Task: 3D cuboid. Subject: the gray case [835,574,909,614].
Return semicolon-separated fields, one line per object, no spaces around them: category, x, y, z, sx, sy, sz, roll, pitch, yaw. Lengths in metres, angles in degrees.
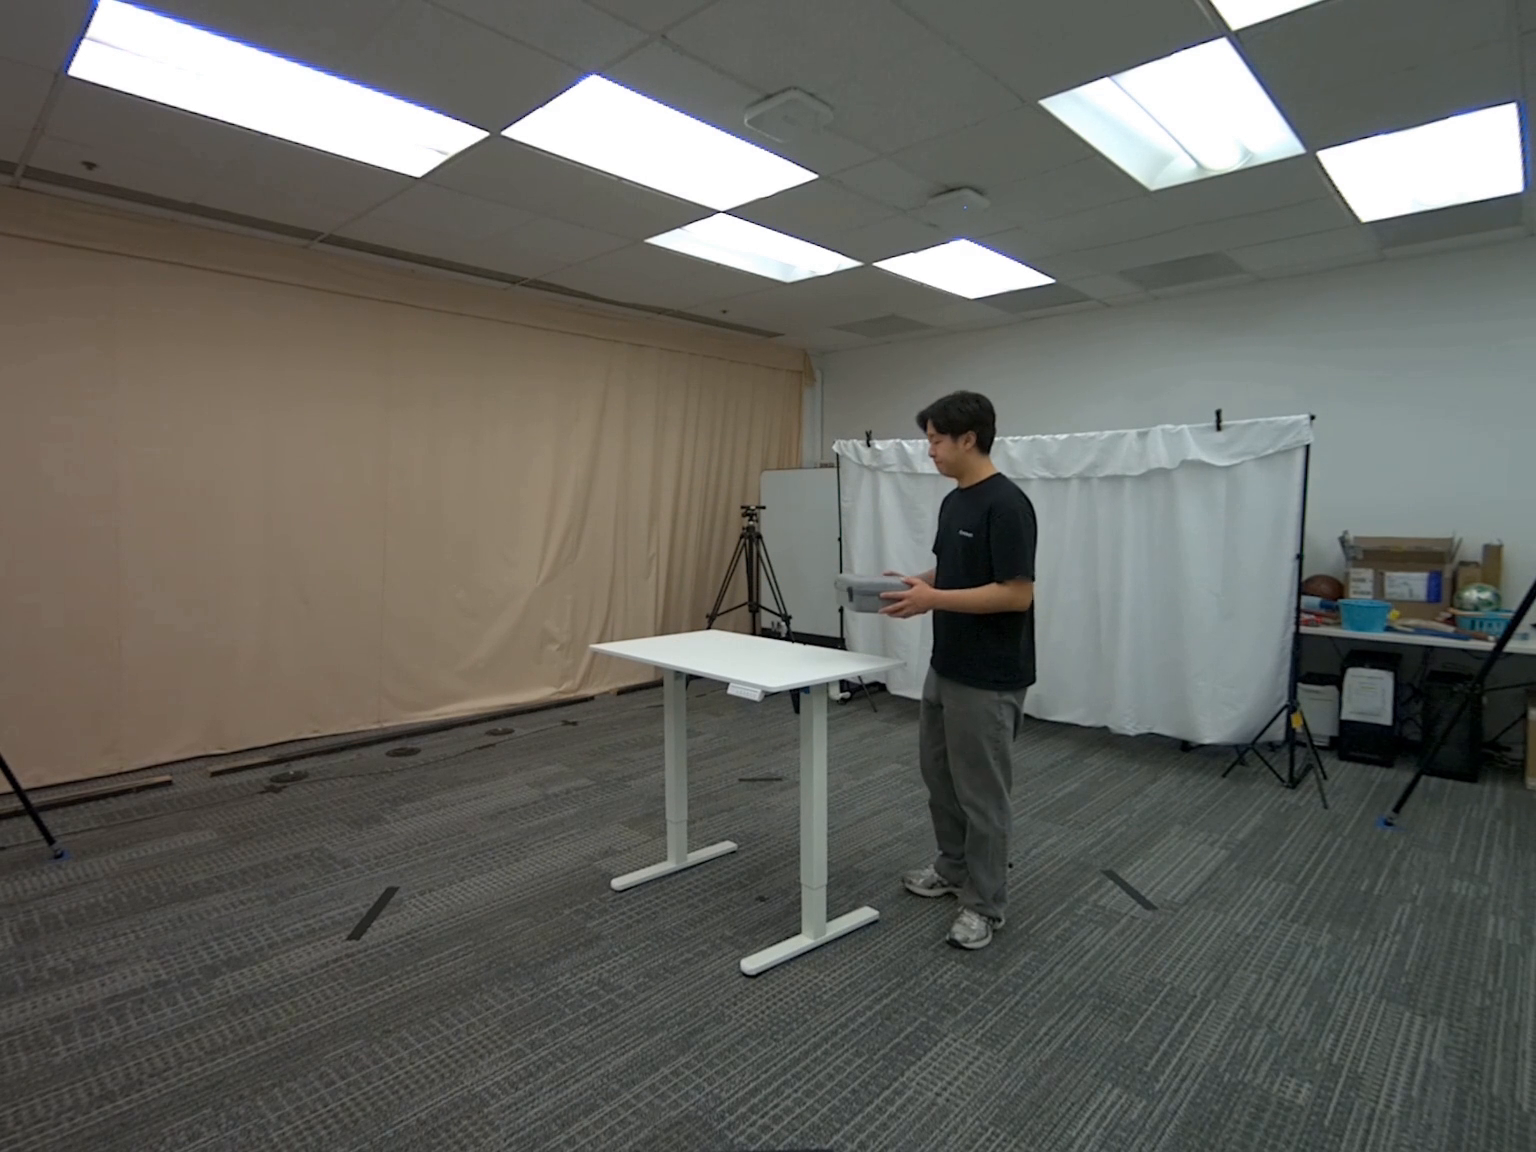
gray case;0.370;0.059;2.729;0.289;0.103;0.262;3;4;6
